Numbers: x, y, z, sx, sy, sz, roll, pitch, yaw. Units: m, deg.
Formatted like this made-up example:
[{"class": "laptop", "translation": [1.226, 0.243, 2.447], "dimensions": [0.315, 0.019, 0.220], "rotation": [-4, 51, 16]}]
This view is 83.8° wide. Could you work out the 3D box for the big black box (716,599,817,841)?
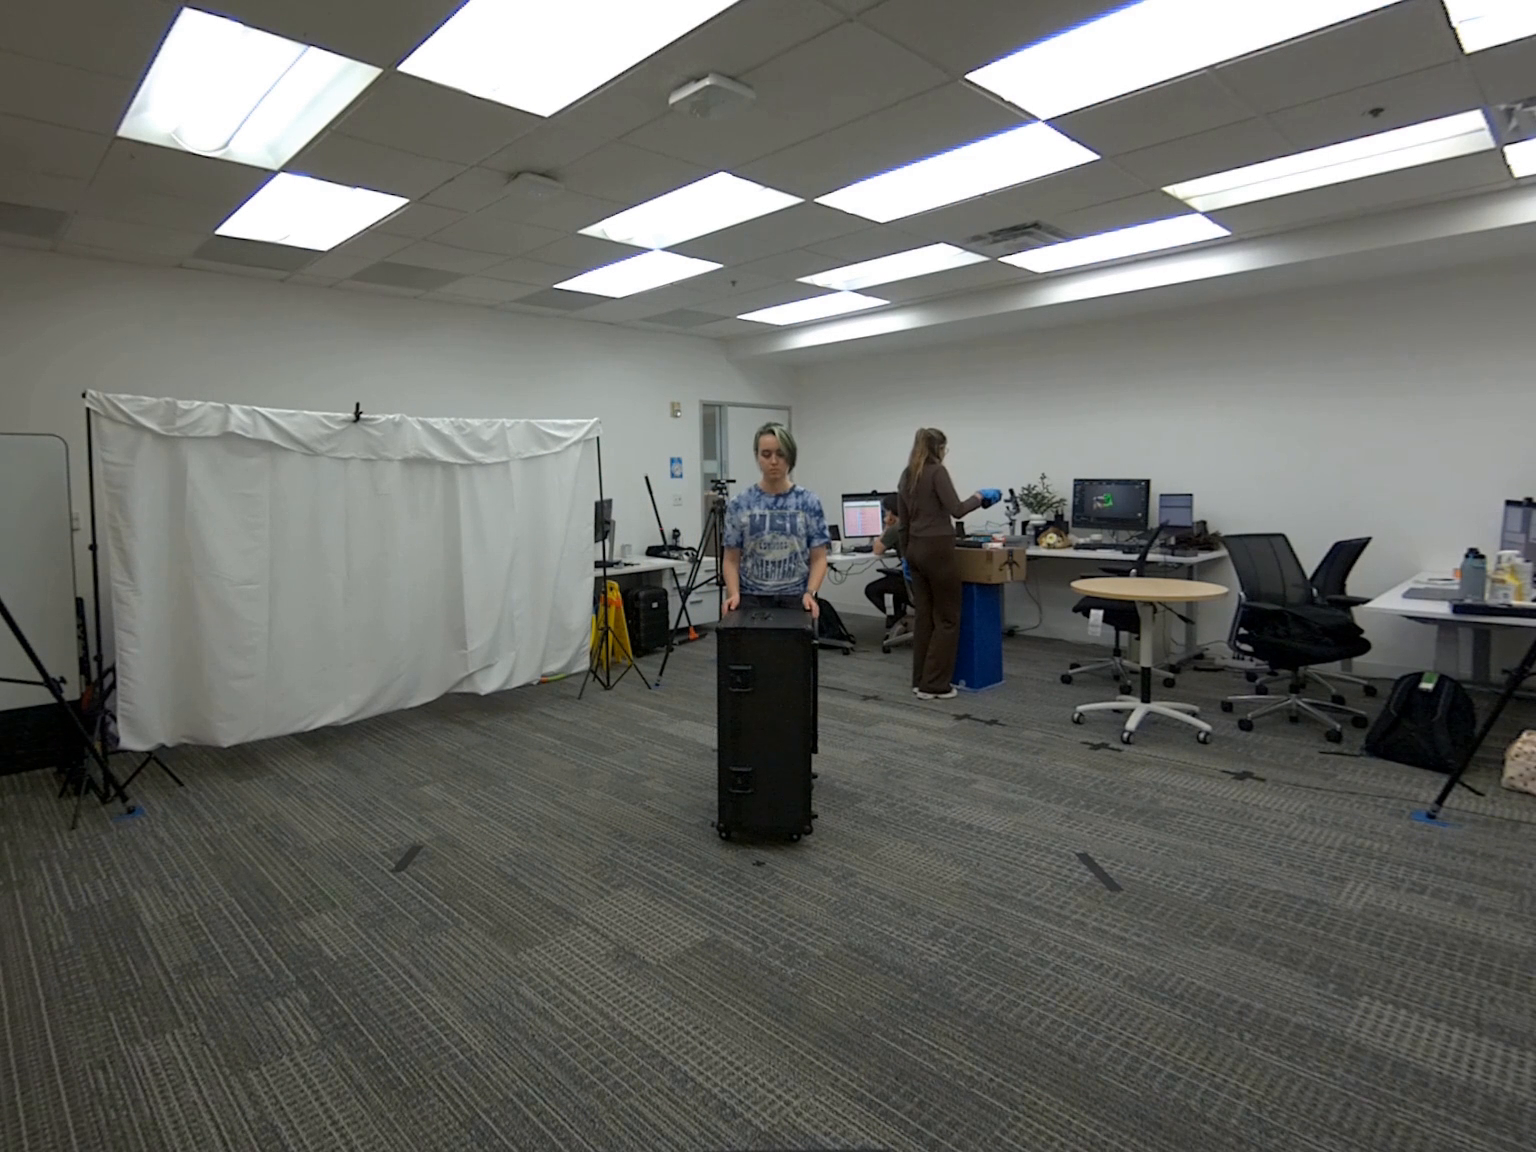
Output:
[{"class": "big black box", "translation": [0.003, 0.599, 3.425], "dimensions": [0.399, 0.858, 0.520], "rotation": [2, 5, 5]}]
